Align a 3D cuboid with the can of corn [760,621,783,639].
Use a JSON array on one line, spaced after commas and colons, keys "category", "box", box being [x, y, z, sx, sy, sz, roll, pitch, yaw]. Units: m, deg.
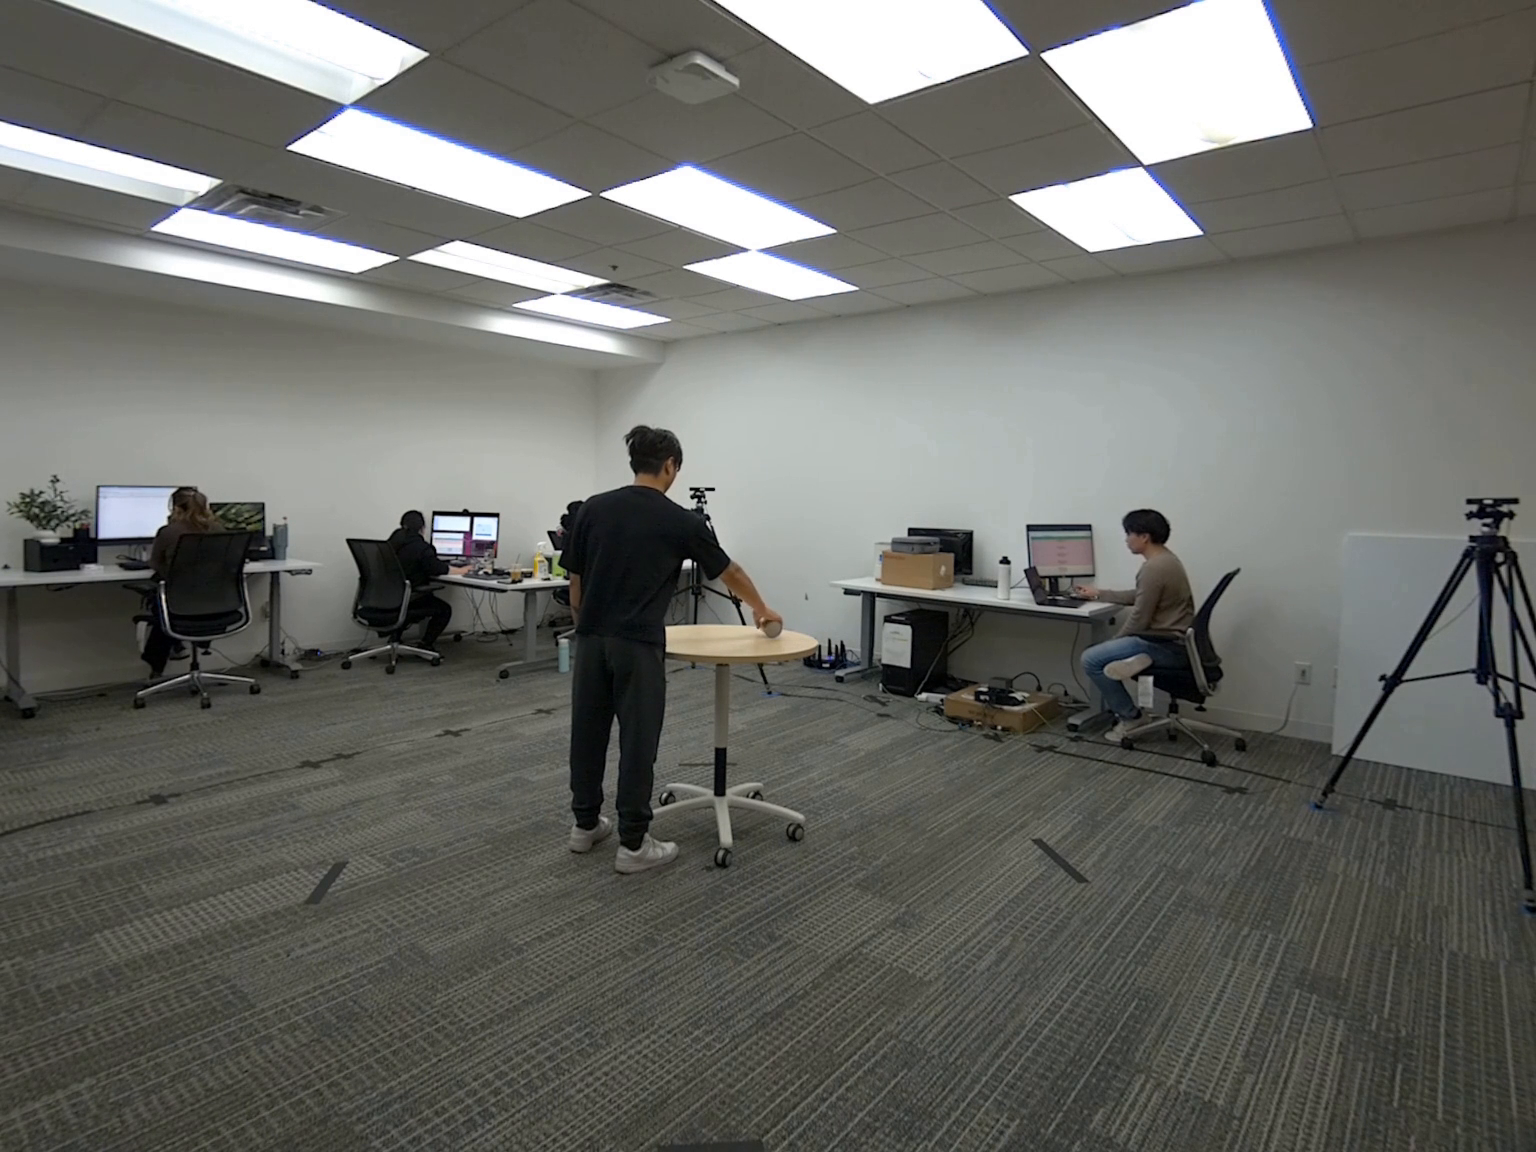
[{"category": "can of corn", "box": [-0.005, 0.200, 3.530, 0.073, 0.073, 0.114, 0, 12, -14]}]
